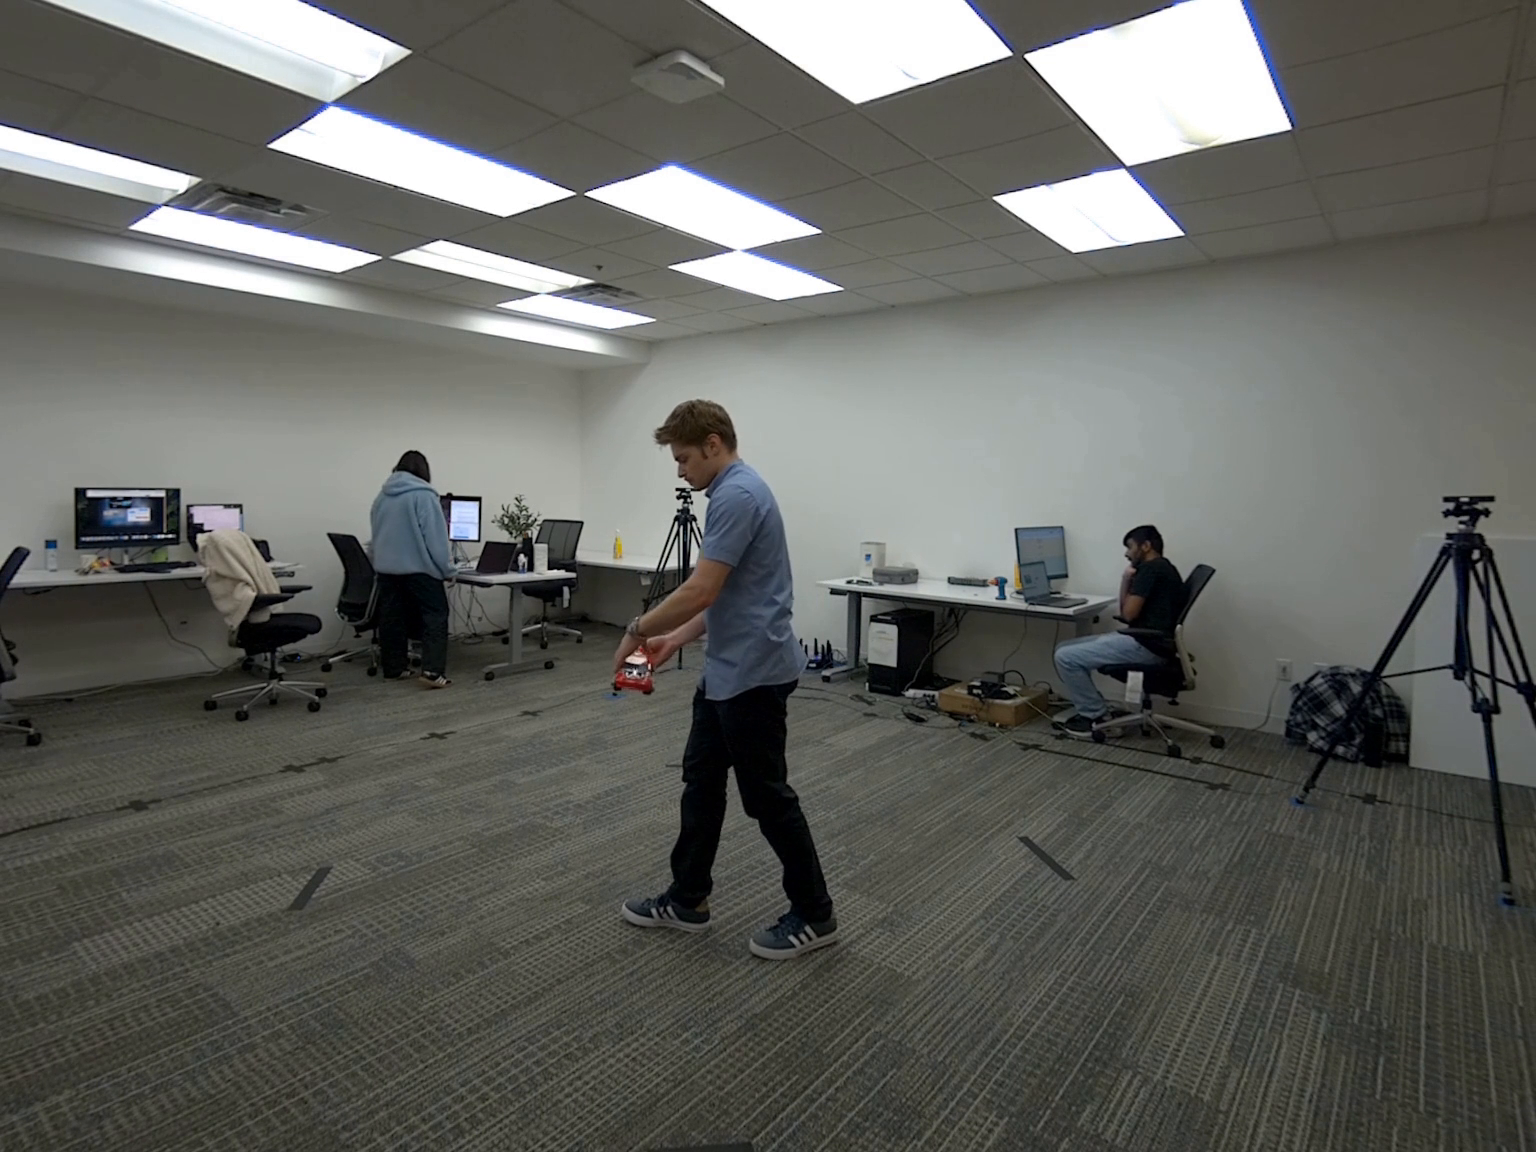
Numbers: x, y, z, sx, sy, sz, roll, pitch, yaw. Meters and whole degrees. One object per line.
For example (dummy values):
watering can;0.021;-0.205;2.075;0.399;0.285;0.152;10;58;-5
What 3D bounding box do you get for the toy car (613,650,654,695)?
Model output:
toy car;-0.399;0.279;2.591;0.129;0.082;0.261;4;22;-10
